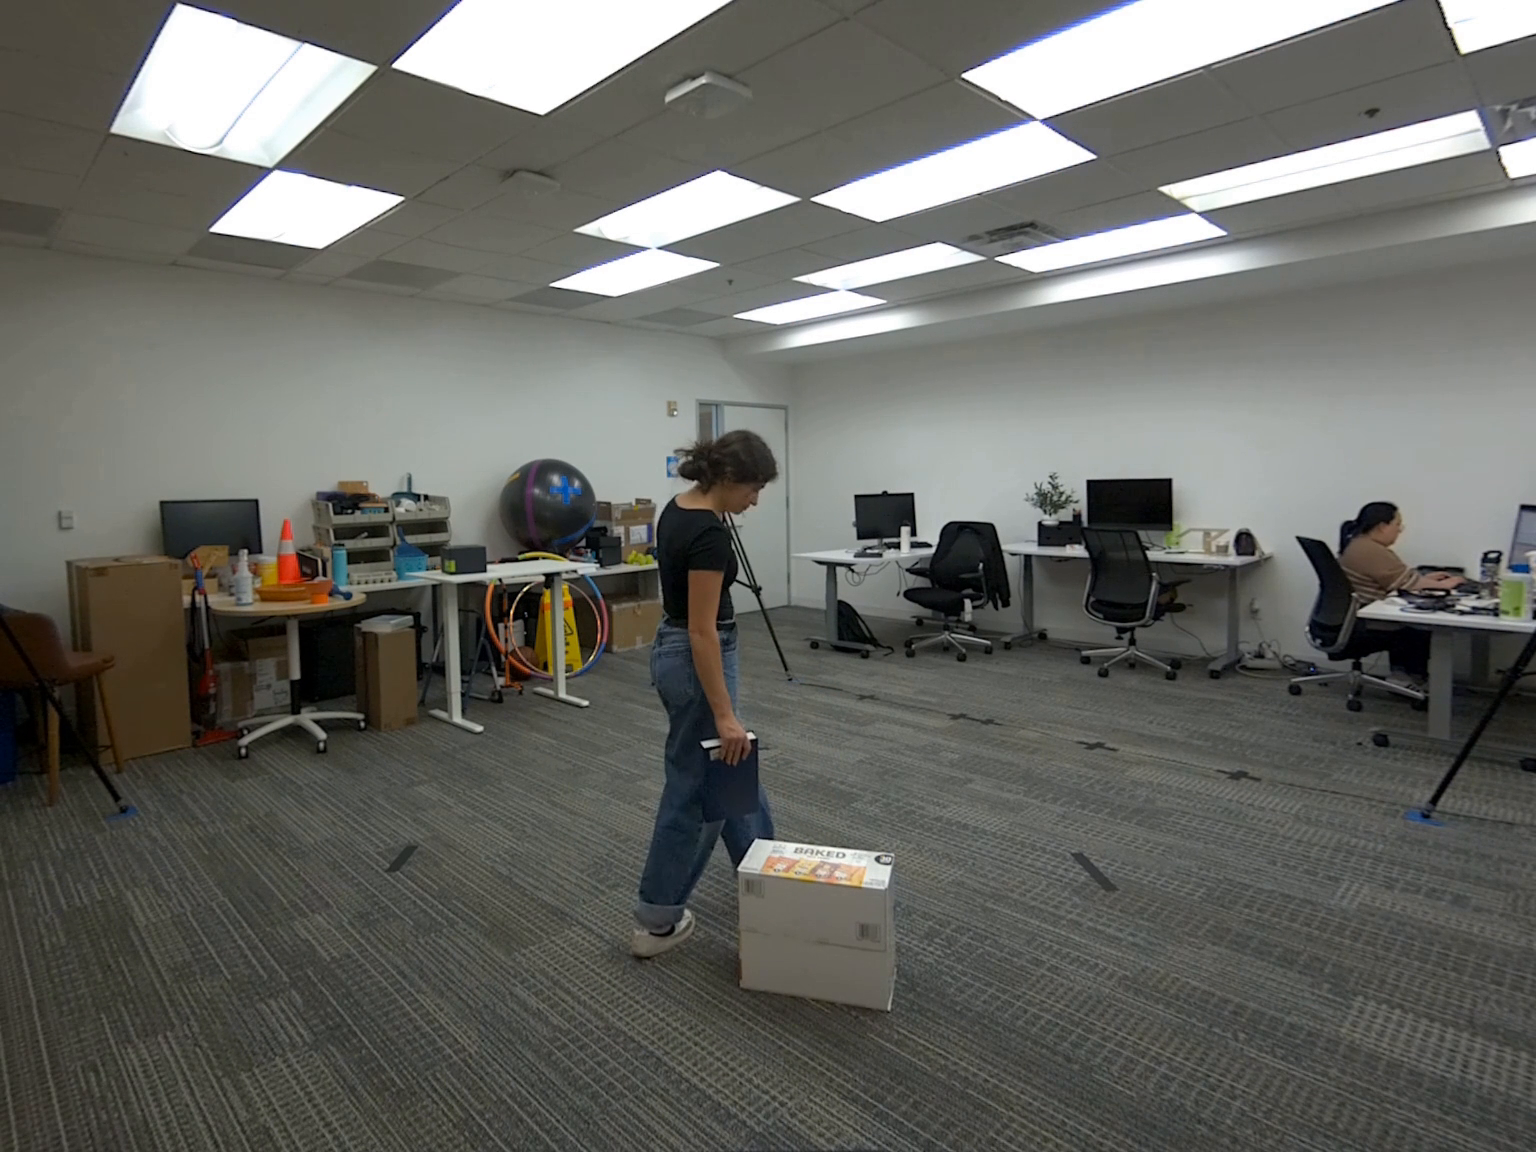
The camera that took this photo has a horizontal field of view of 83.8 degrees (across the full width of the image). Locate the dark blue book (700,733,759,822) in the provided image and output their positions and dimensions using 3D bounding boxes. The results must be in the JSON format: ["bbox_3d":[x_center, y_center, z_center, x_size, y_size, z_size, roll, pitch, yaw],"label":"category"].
[{"bbox_3d":[-0.107,0.574,2.438,0.161,0.241,0.046,-7,20,-18],"label":"dark blue book"}]
